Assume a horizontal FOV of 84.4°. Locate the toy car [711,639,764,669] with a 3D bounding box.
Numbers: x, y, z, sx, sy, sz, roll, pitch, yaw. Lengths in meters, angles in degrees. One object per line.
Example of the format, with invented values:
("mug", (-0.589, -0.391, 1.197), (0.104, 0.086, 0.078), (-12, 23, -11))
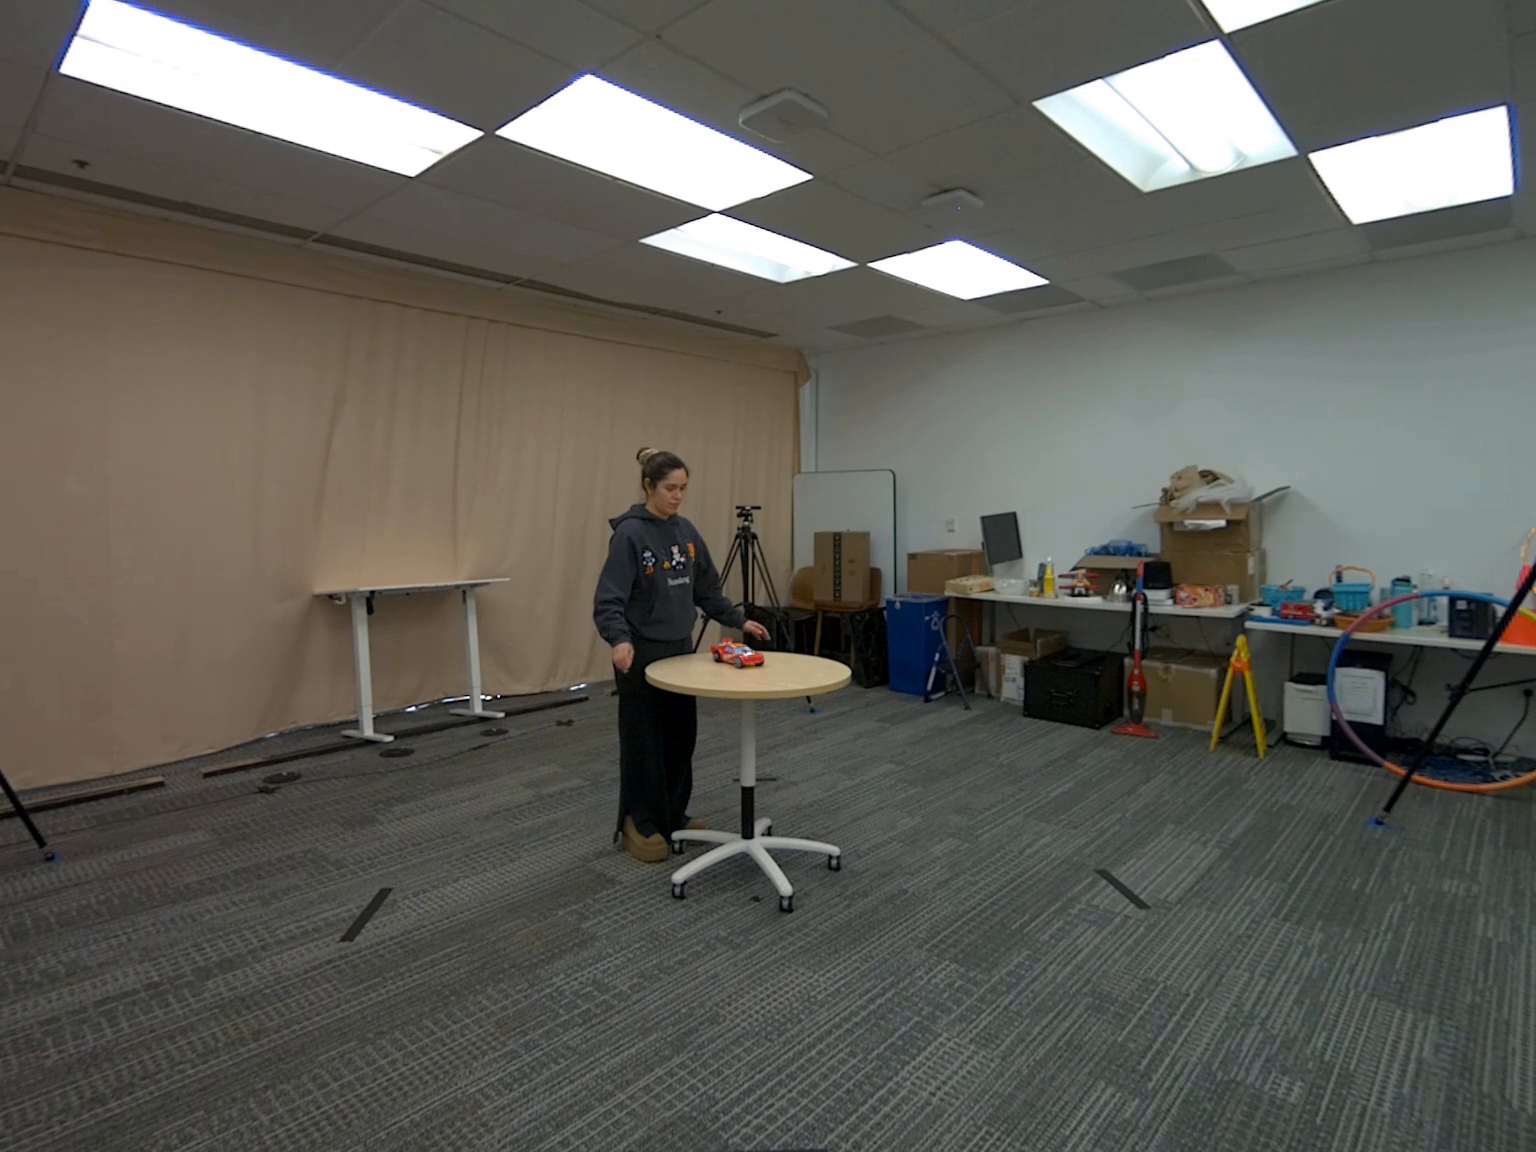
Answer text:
("toy car", (-0.113, 0.306, 3.261), (0.126, 0.083, 0.264), (-1, 16, -36))
